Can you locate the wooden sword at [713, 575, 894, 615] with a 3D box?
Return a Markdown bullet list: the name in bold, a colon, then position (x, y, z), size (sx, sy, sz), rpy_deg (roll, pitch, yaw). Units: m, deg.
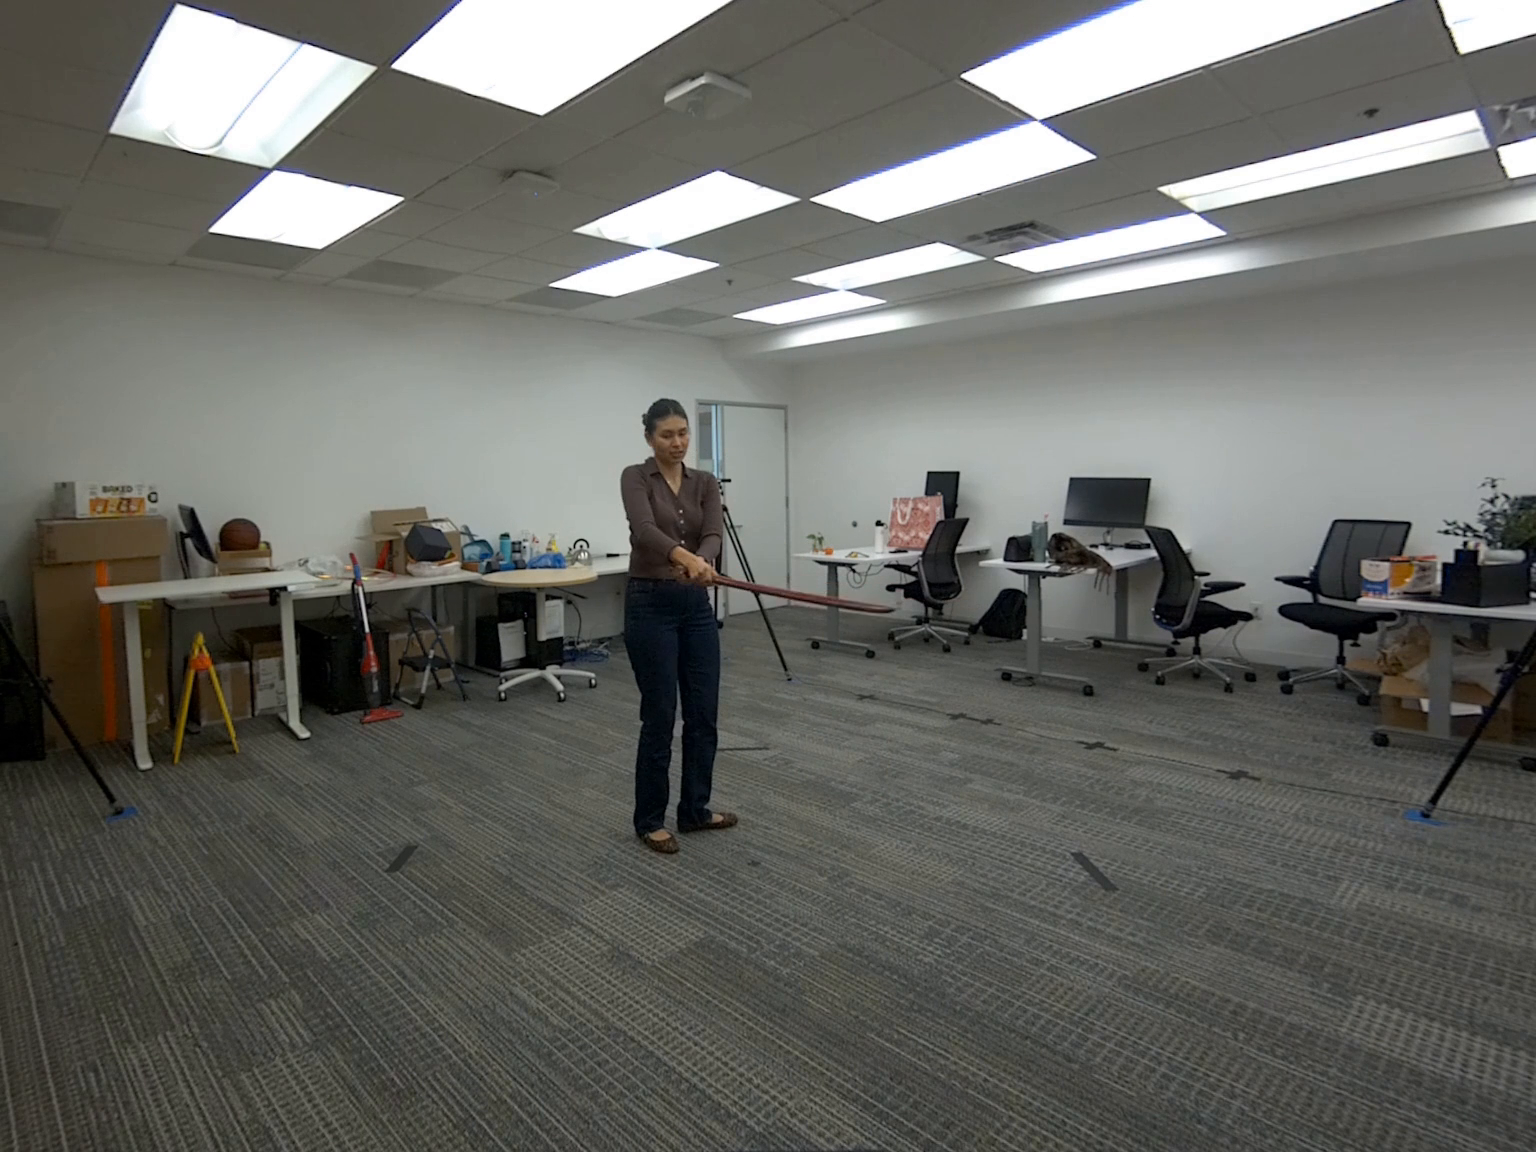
- **wooden sword**: position (0.047, 0.054, 2.602), size (0.050, 0.024, 1.057), rpy_deg (5, 1, -44)
